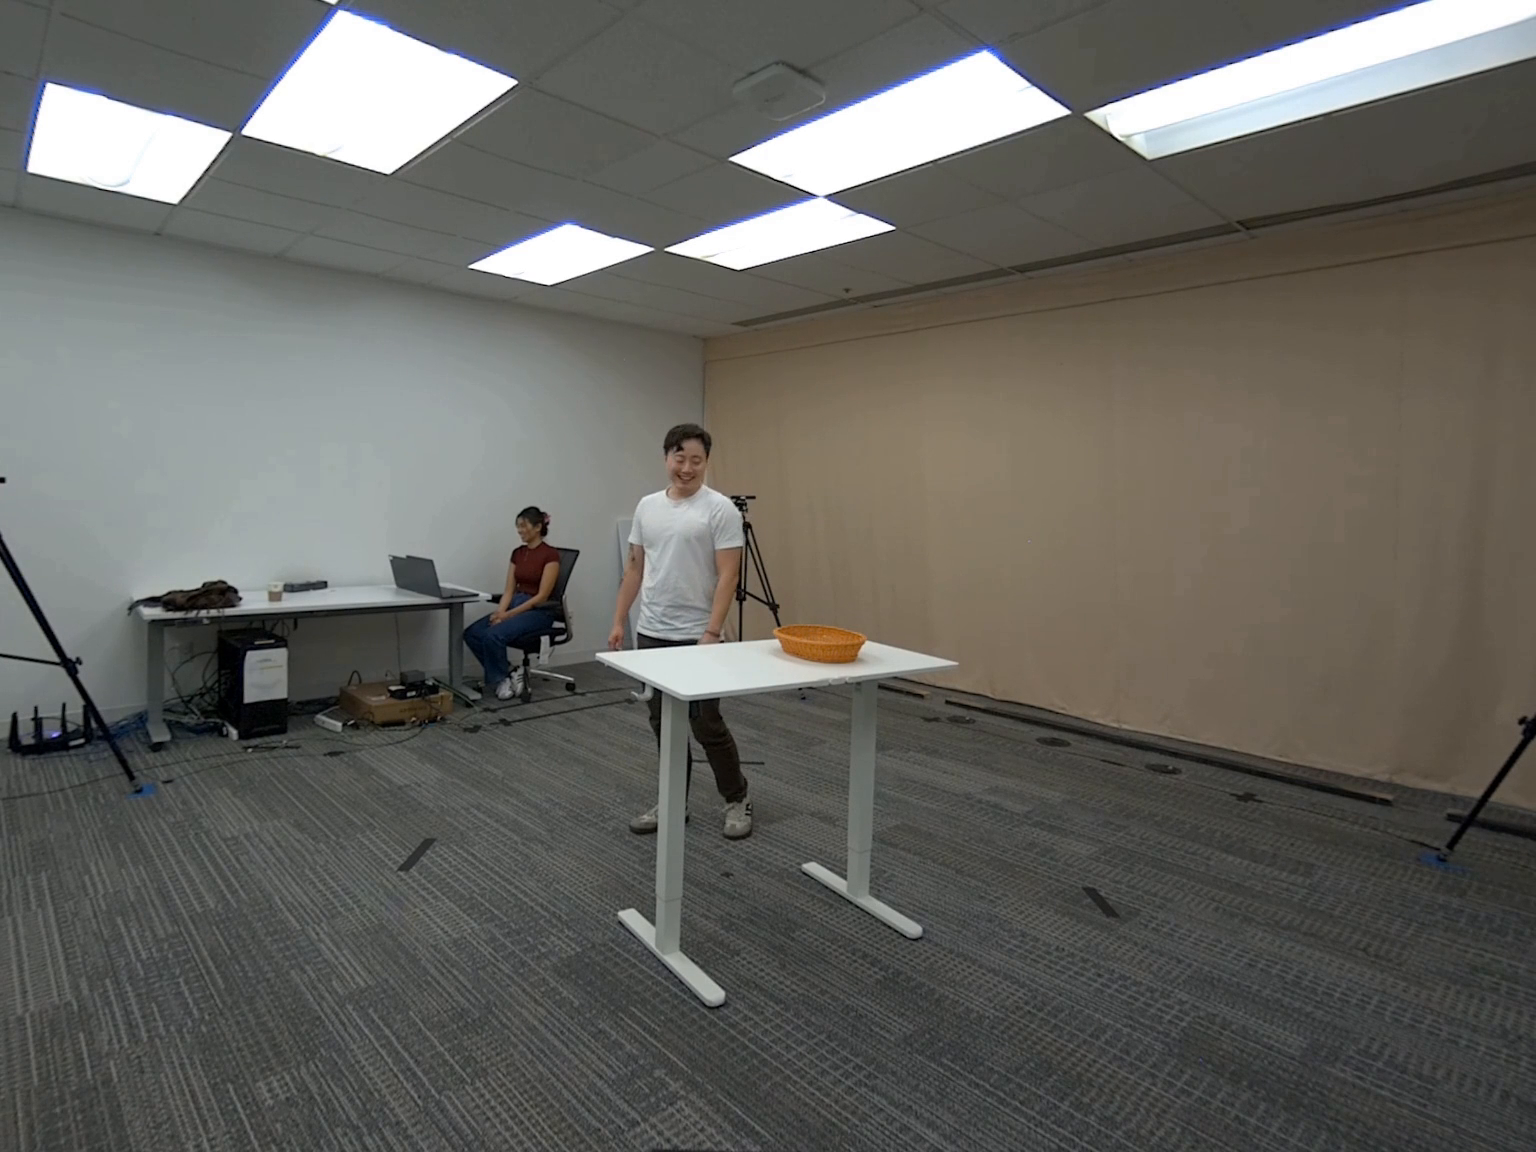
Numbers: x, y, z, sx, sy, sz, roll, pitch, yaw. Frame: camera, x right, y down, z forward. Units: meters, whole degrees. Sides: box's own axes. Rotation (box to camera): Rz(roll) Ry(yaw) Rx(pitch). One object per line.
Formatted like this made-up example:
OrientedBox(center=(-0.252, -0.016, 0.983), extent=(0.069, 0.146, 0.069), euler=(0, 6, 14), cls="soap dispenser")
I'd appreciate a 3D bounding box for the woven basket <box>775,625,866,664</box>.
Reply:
OrientedBox(center=(0.161, 0.234, 2.742), extent=(0.247, 0.073, 0.358), euler=(-2, 7, -30), cls="woven basket")
